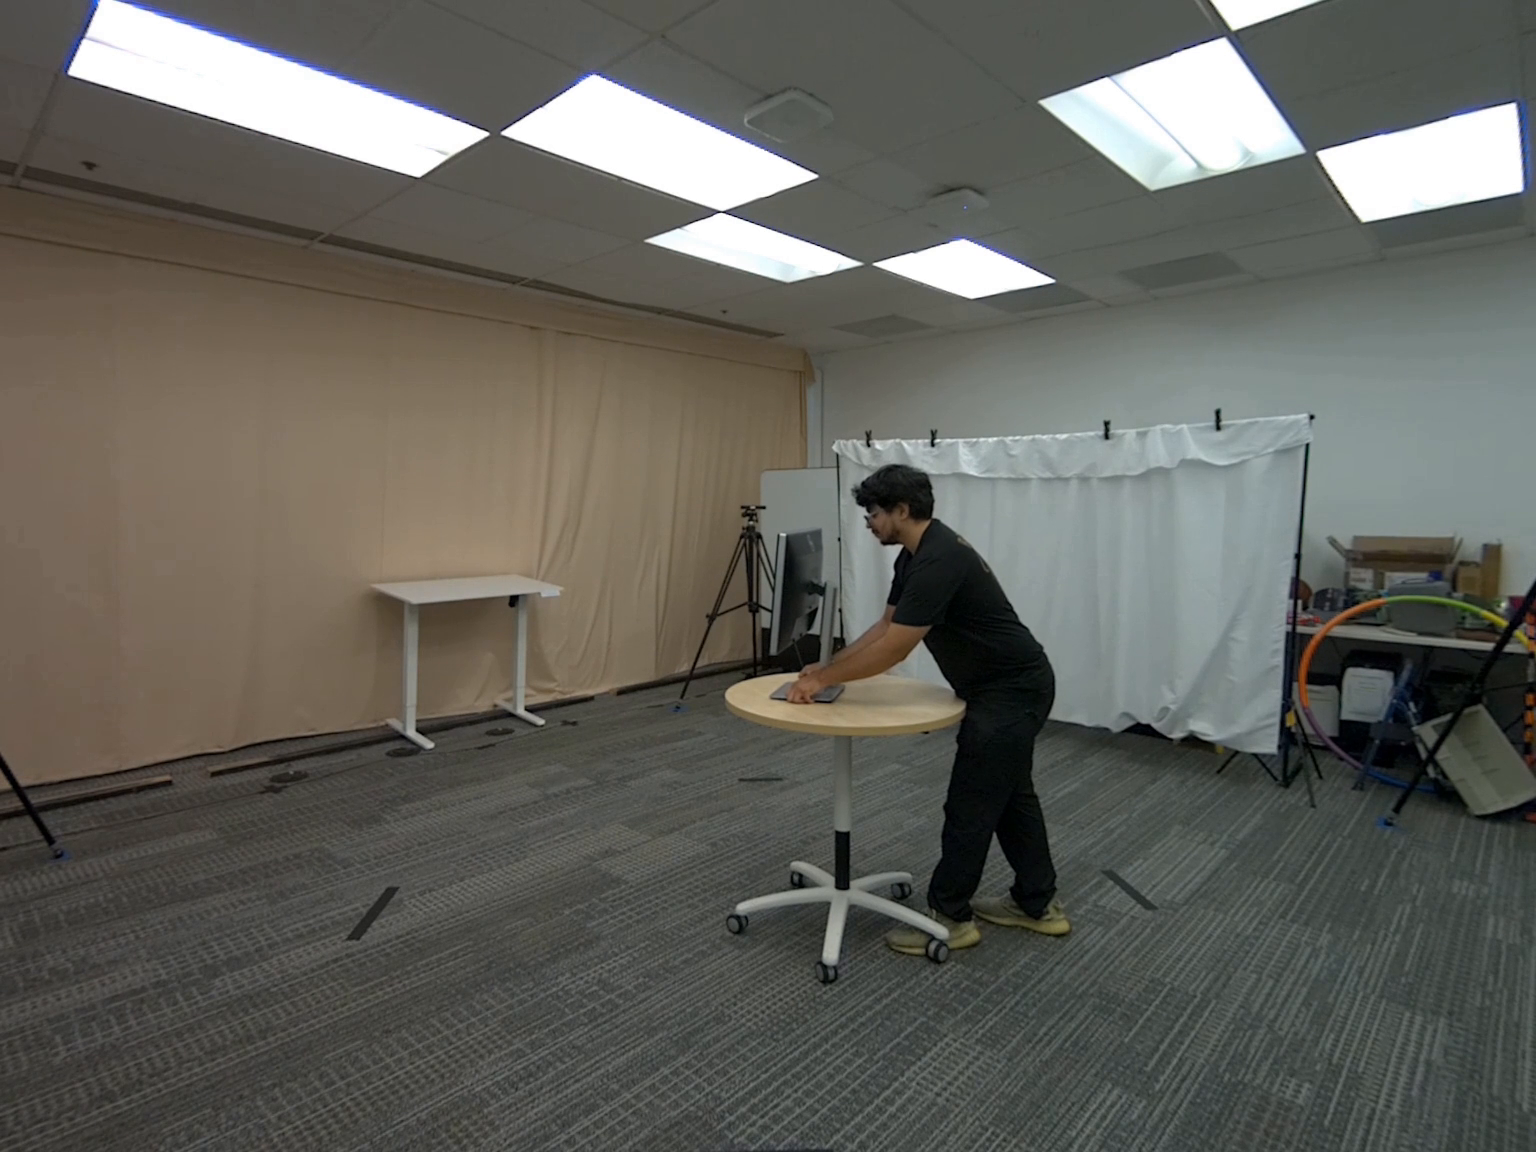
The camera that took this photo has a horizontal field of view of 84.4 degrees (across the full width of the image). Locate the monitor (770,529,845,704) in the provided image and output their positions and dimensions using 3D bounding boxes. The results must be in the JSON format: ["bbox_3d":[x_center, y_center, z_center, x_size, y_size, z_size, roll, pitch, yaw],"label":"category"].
[{"bbox_3d":[0.161,0.124,2.721,0.214,0.552,0.556,2,4,15],"label":"monitor"}]
